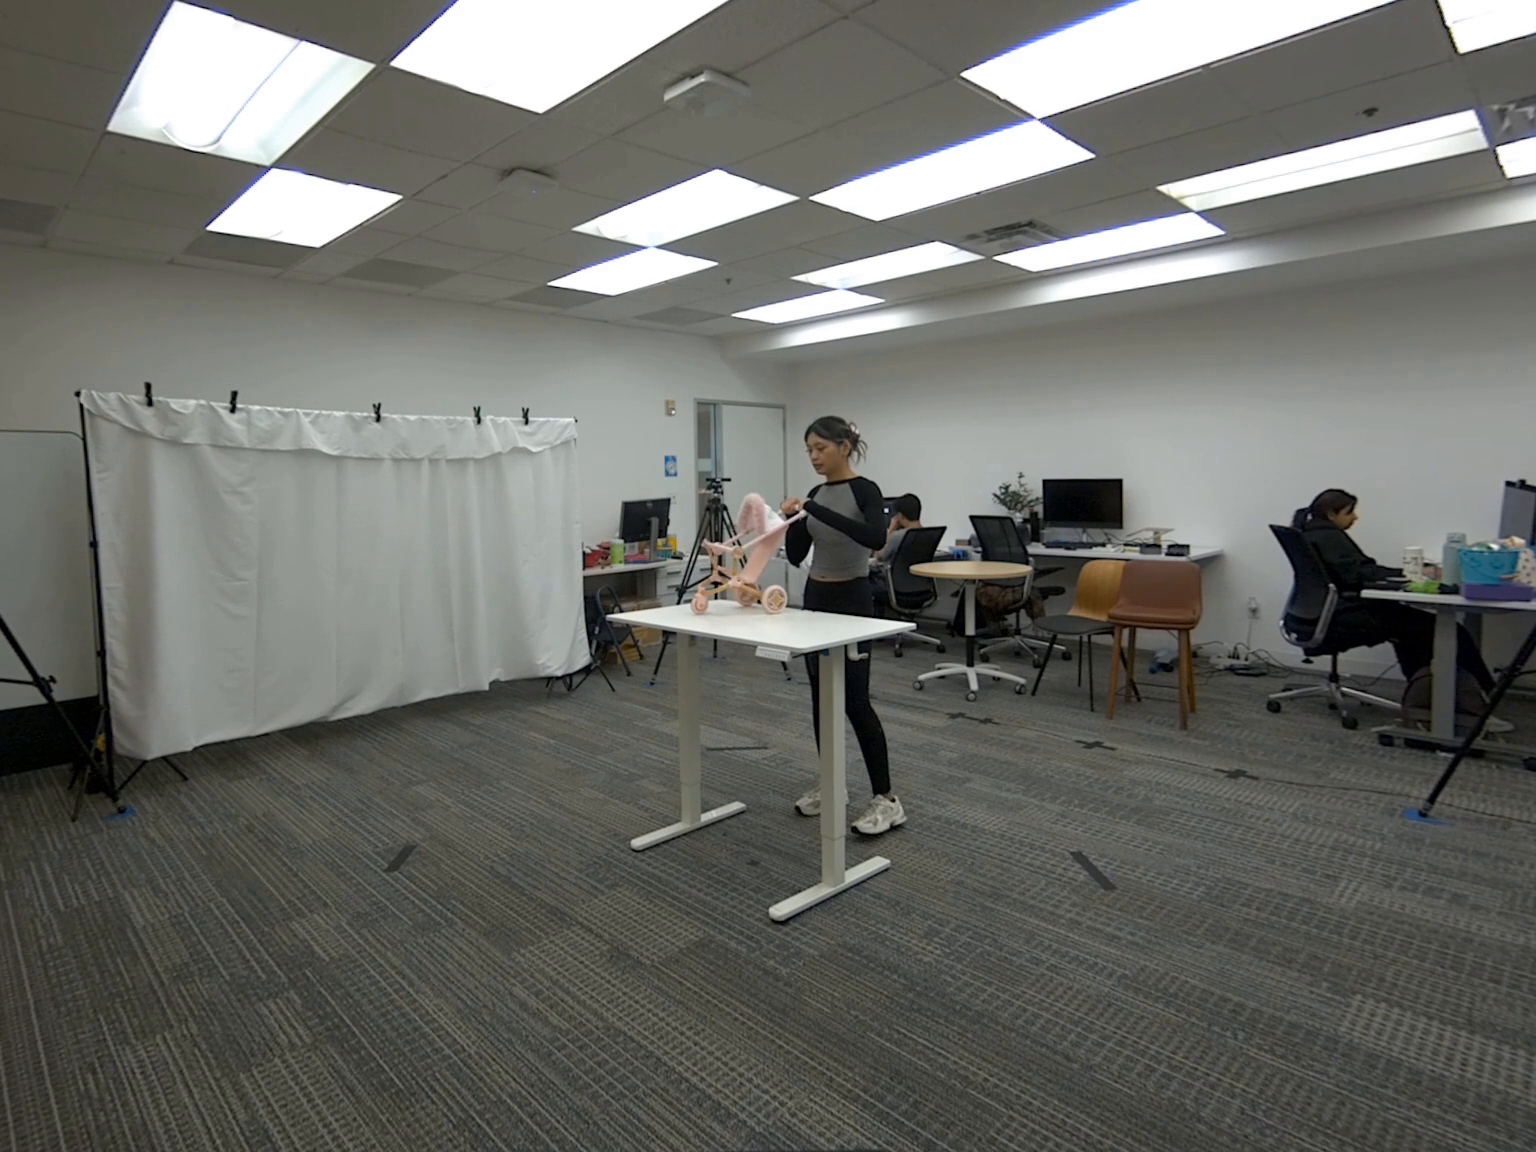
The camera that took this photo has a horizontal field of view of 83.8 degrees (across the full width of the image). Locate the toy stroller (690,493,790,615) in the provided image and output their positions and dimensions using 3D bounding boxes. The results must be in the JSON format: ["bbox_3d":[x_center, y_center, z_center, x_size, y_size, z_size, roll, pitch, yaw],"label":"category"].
[{"bbox_3d":[-0.078,-0.084,3.314,0.334,0.536,0.287,15,-2,-21],"label":"toy stroller"}]
